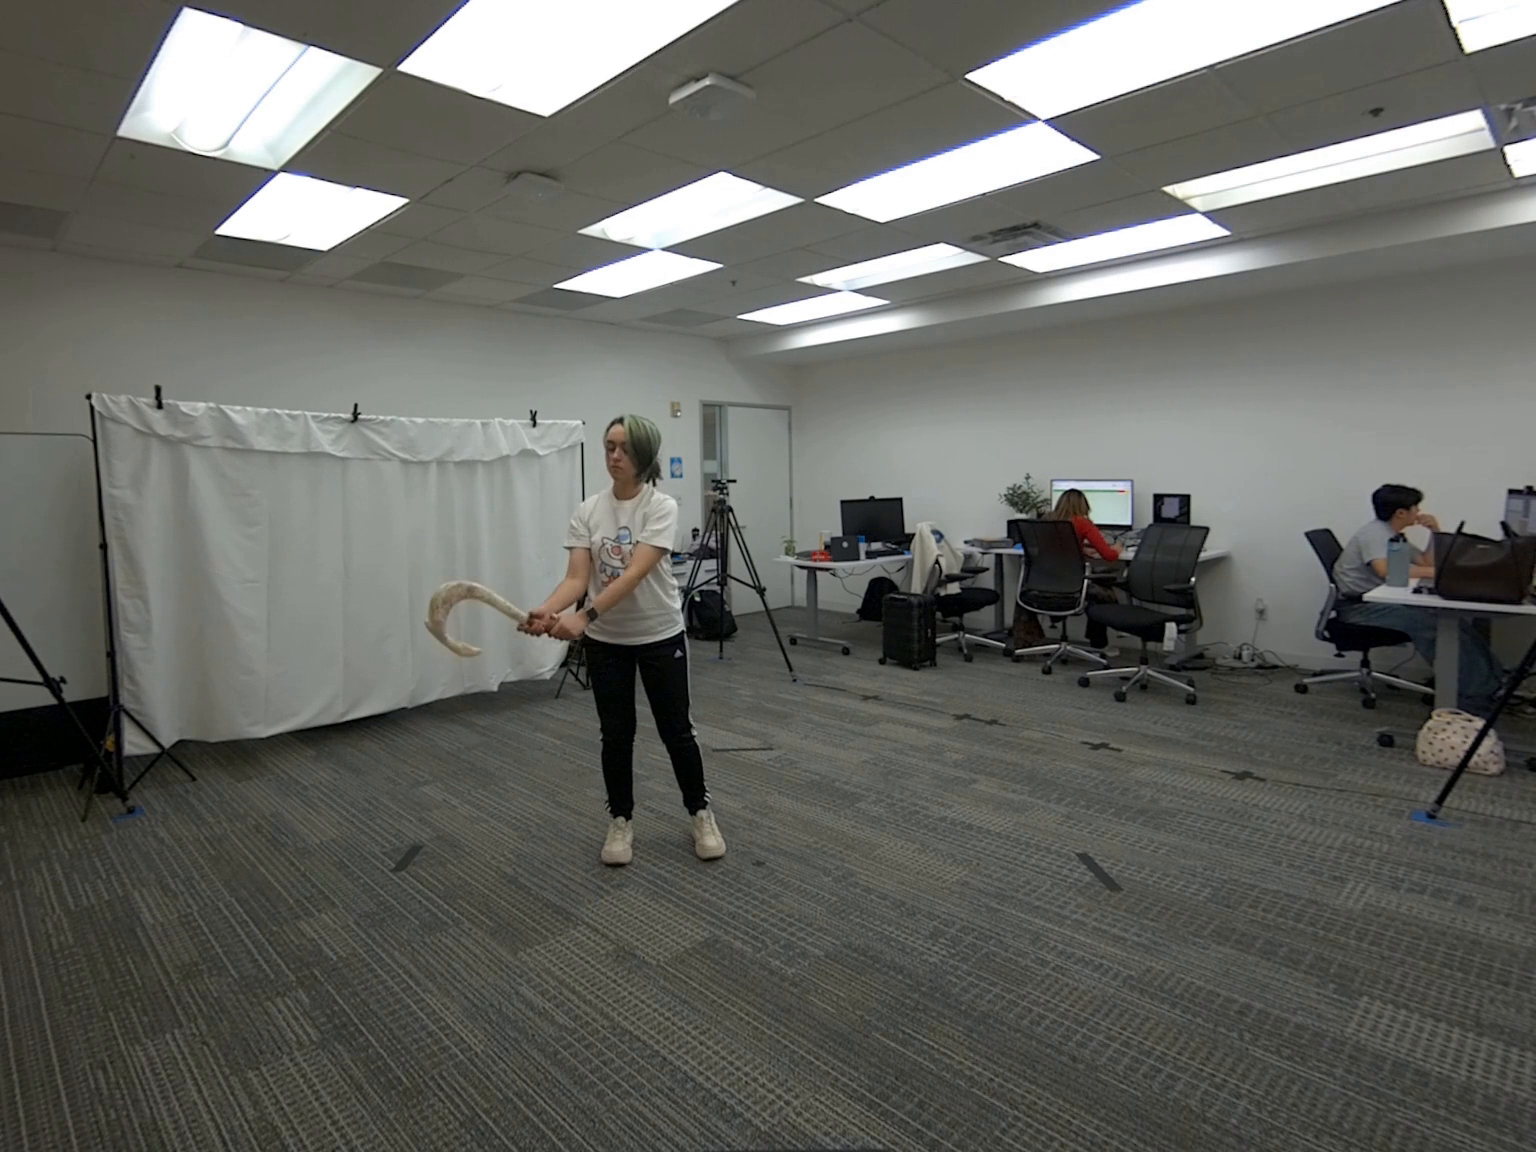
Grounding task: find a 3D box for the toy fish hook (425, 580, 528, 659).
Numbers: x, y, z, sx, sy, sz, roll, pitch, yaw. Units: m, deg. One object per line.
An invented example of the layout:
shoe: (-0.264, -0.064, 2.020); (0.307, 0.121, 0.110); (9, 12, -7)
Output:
toy fish hook: (-0.825, 0.181, 2.718); (0.491, 0.226, 0.049); (20, -15, -29)
